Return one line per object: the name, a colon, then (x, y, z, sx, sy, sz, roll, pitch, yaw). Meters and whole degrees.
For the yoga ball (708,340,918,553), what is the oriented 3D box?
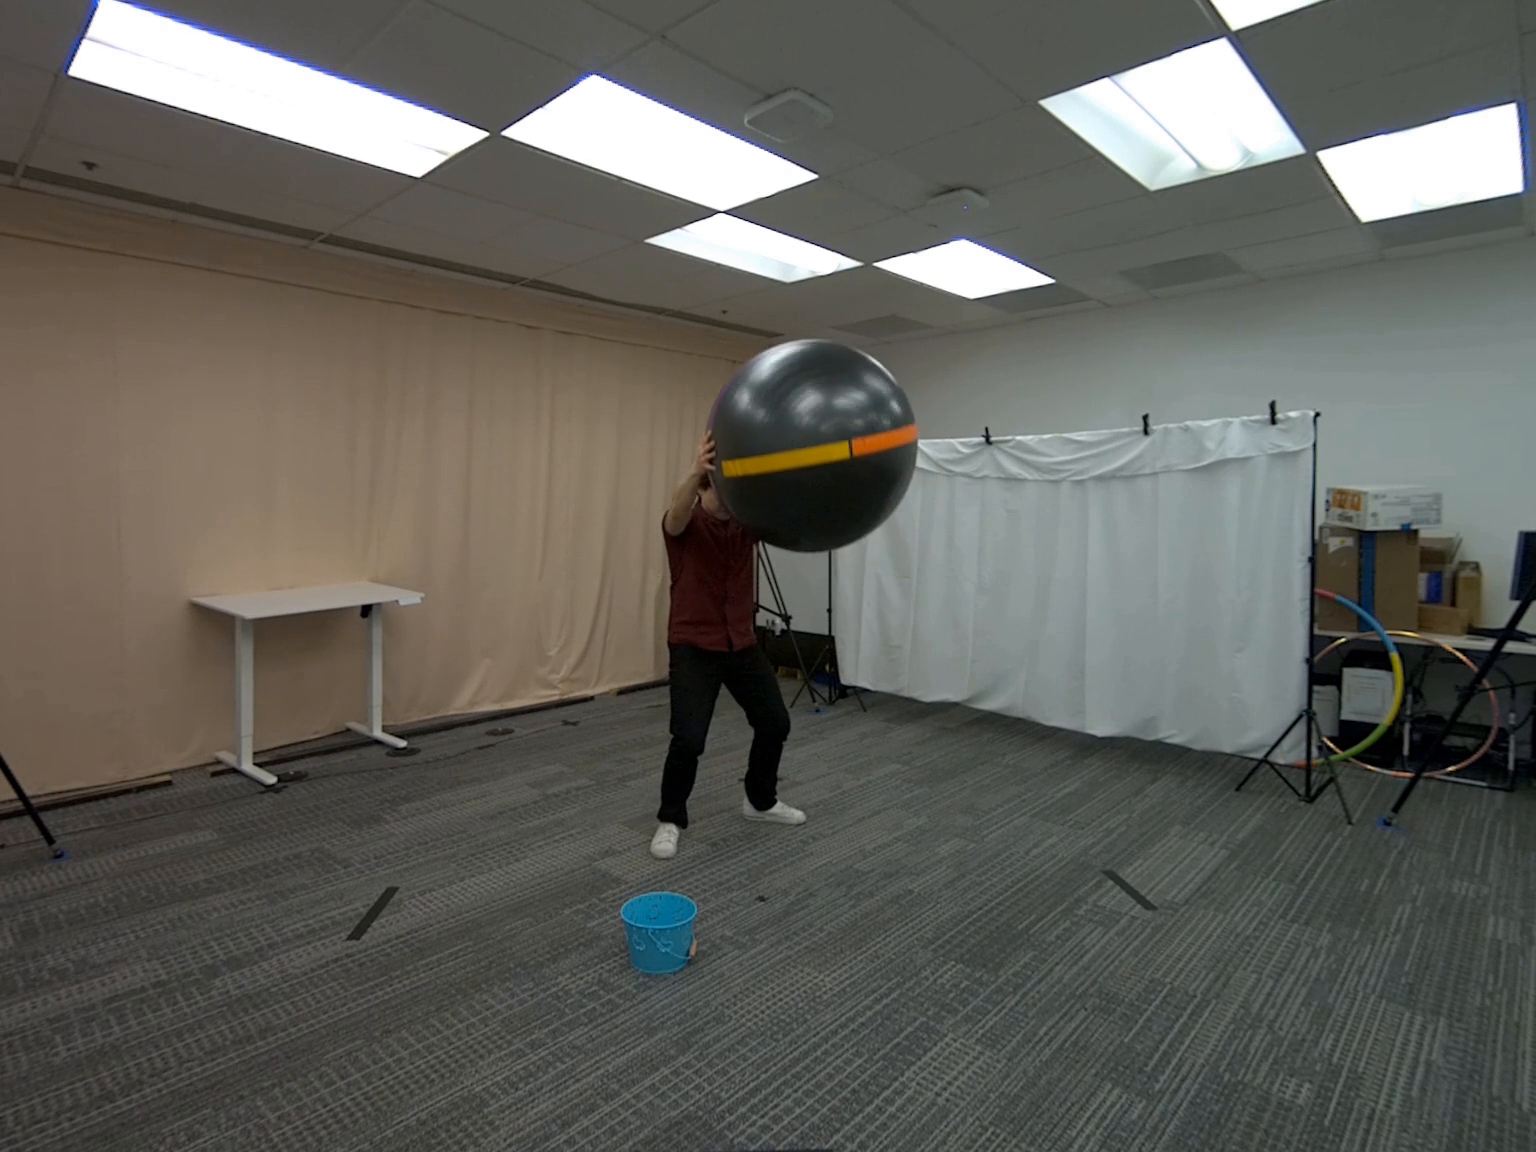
yoga ball: (0.155, -0.446, 3.044, 0.757, 0.756, 0.760, 0, 4, -2)
